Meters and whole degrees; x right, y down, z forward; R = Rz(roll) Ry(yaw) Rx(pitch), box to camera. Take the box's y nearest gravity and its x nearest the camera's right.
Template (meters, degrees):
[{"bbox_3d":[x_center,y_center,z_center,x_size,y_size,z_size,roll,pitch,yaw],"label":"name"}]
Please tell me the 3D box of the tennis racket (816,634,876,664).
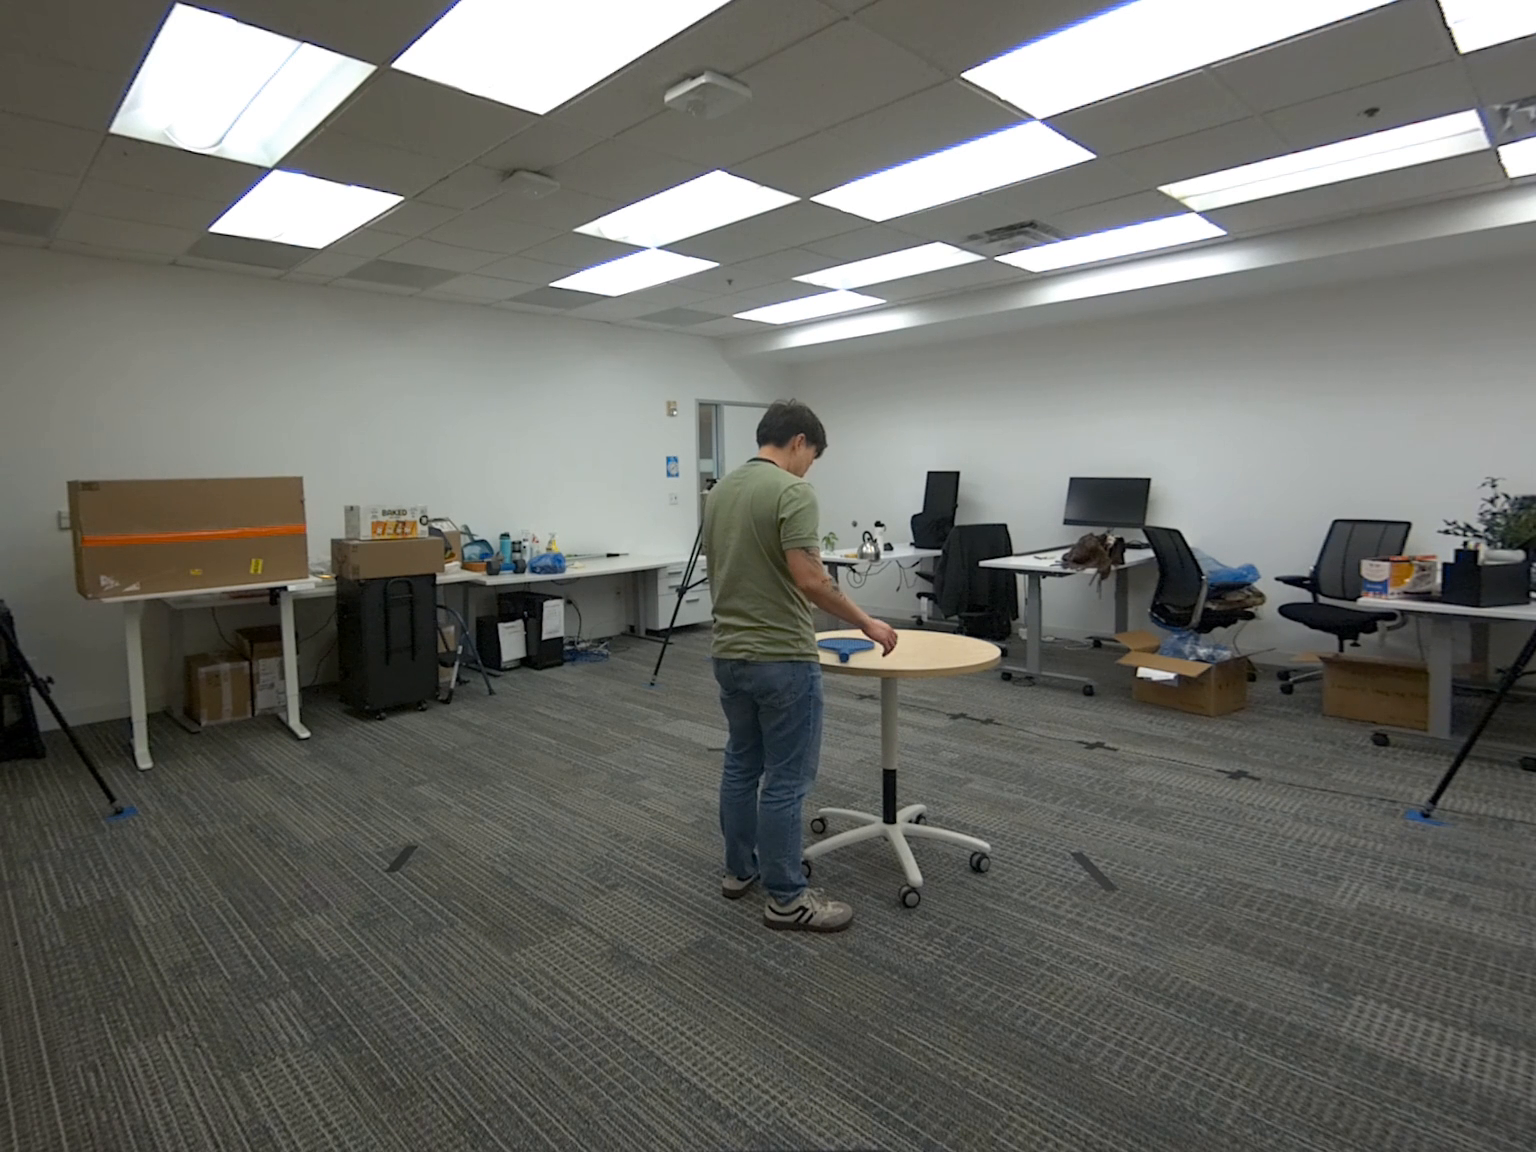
[{"bbox_3d":[0.267,0.252,3.013,0.216,0.032,0.430,0,4,8],"label":"tennis racket"}]
